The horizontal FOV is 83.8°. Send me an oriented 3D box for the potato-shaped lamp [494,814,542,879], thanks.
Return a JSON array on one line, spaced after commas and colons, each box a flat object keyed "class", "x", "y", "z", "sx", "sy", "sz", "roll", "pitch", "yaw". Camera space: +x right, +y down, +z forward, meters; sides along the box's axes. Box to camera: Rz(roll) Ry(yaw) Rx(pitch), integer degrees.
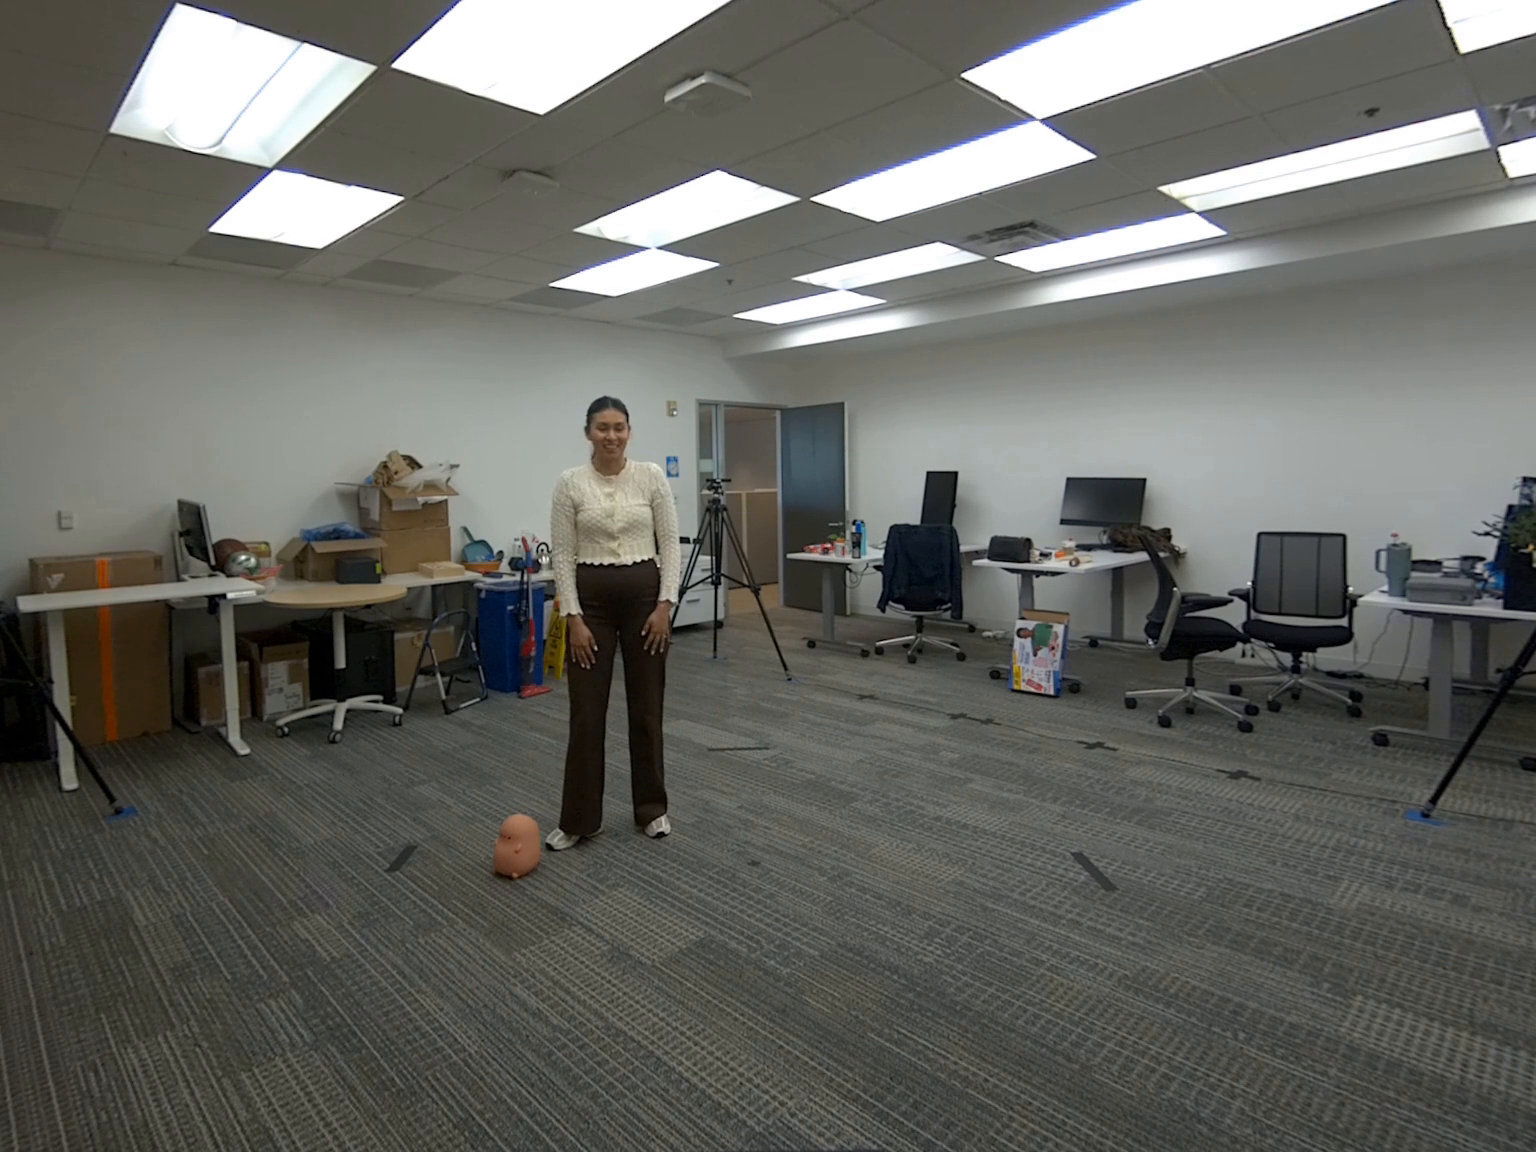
[{"class": "potato-shaped lamp", "x": -0.897, "y": 0.964, "z": 3.083, "sx": 0.170, "sy": 0.196, "sz": 0.168, "roll": 8, "pitch": 16, "yaw": 41}]
